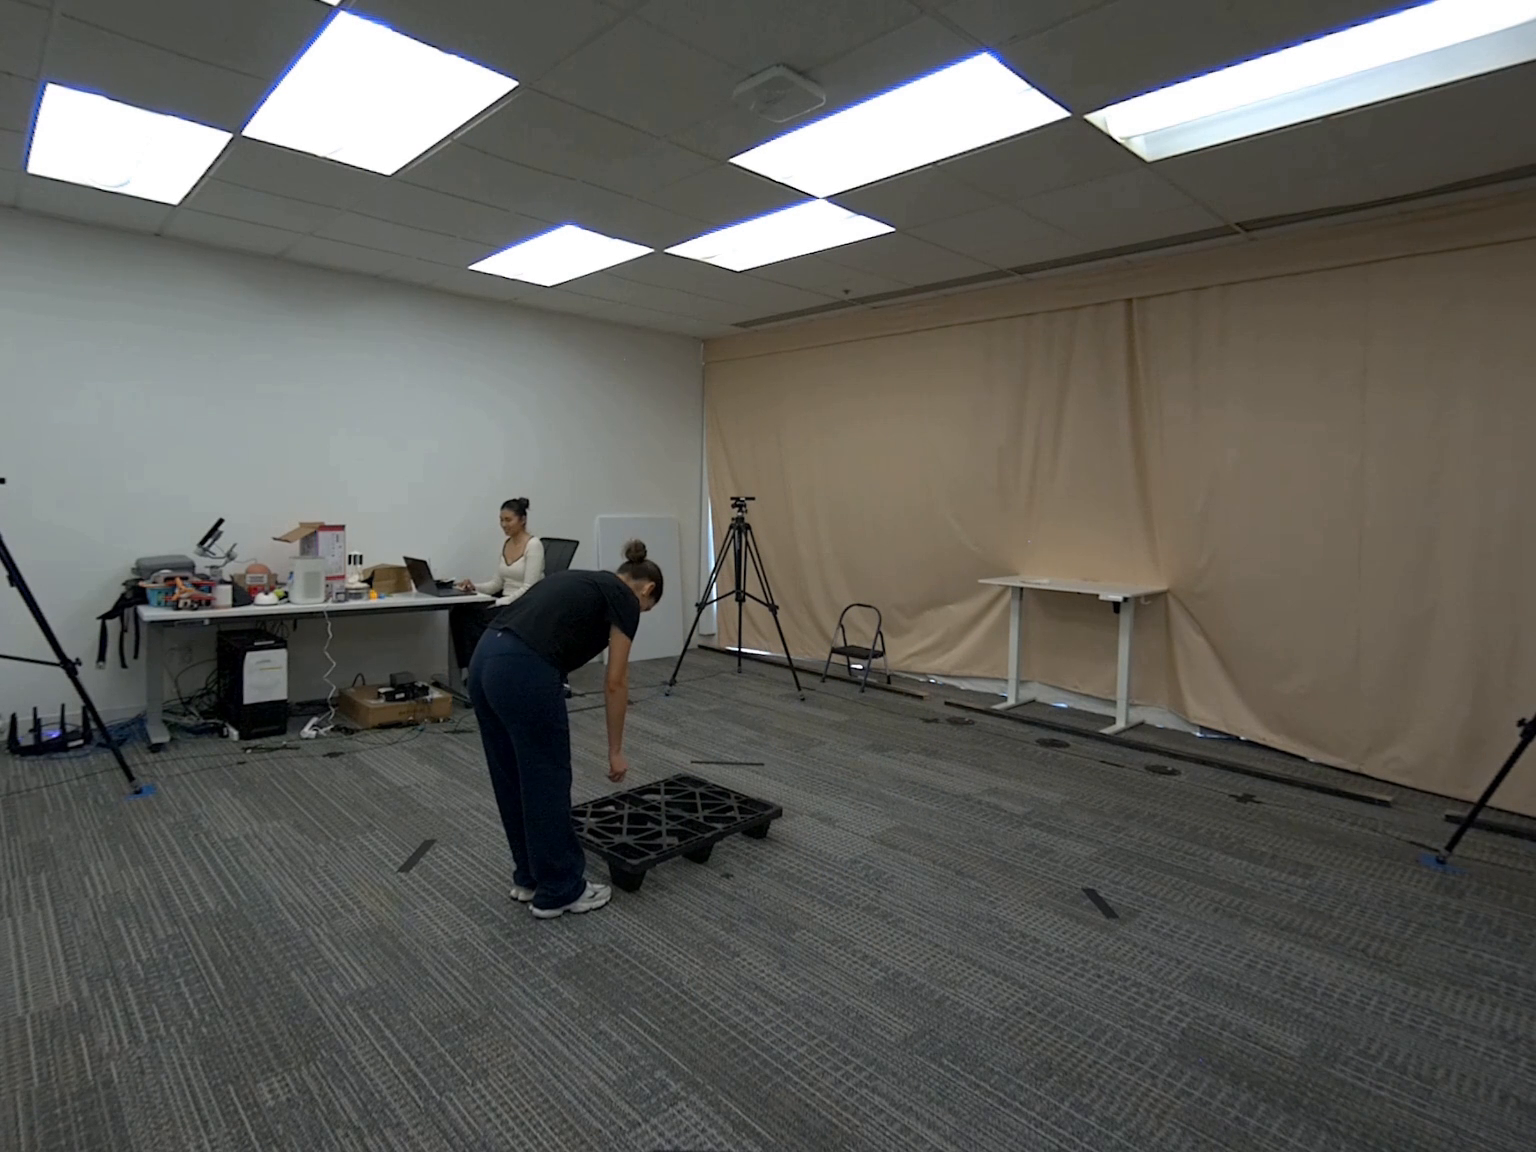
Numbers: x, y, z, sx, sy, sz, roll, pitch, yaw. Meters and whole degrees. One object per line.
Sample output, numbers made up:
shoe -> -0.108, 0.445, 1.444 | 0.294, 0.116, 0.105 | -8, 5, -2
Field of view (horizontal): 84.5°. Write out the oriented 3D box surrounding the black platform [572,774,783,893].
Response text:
black platform -> -0.429, 1.014, 3.354 | 0.620, 0.143, 0.787 | 5, 6, 42
